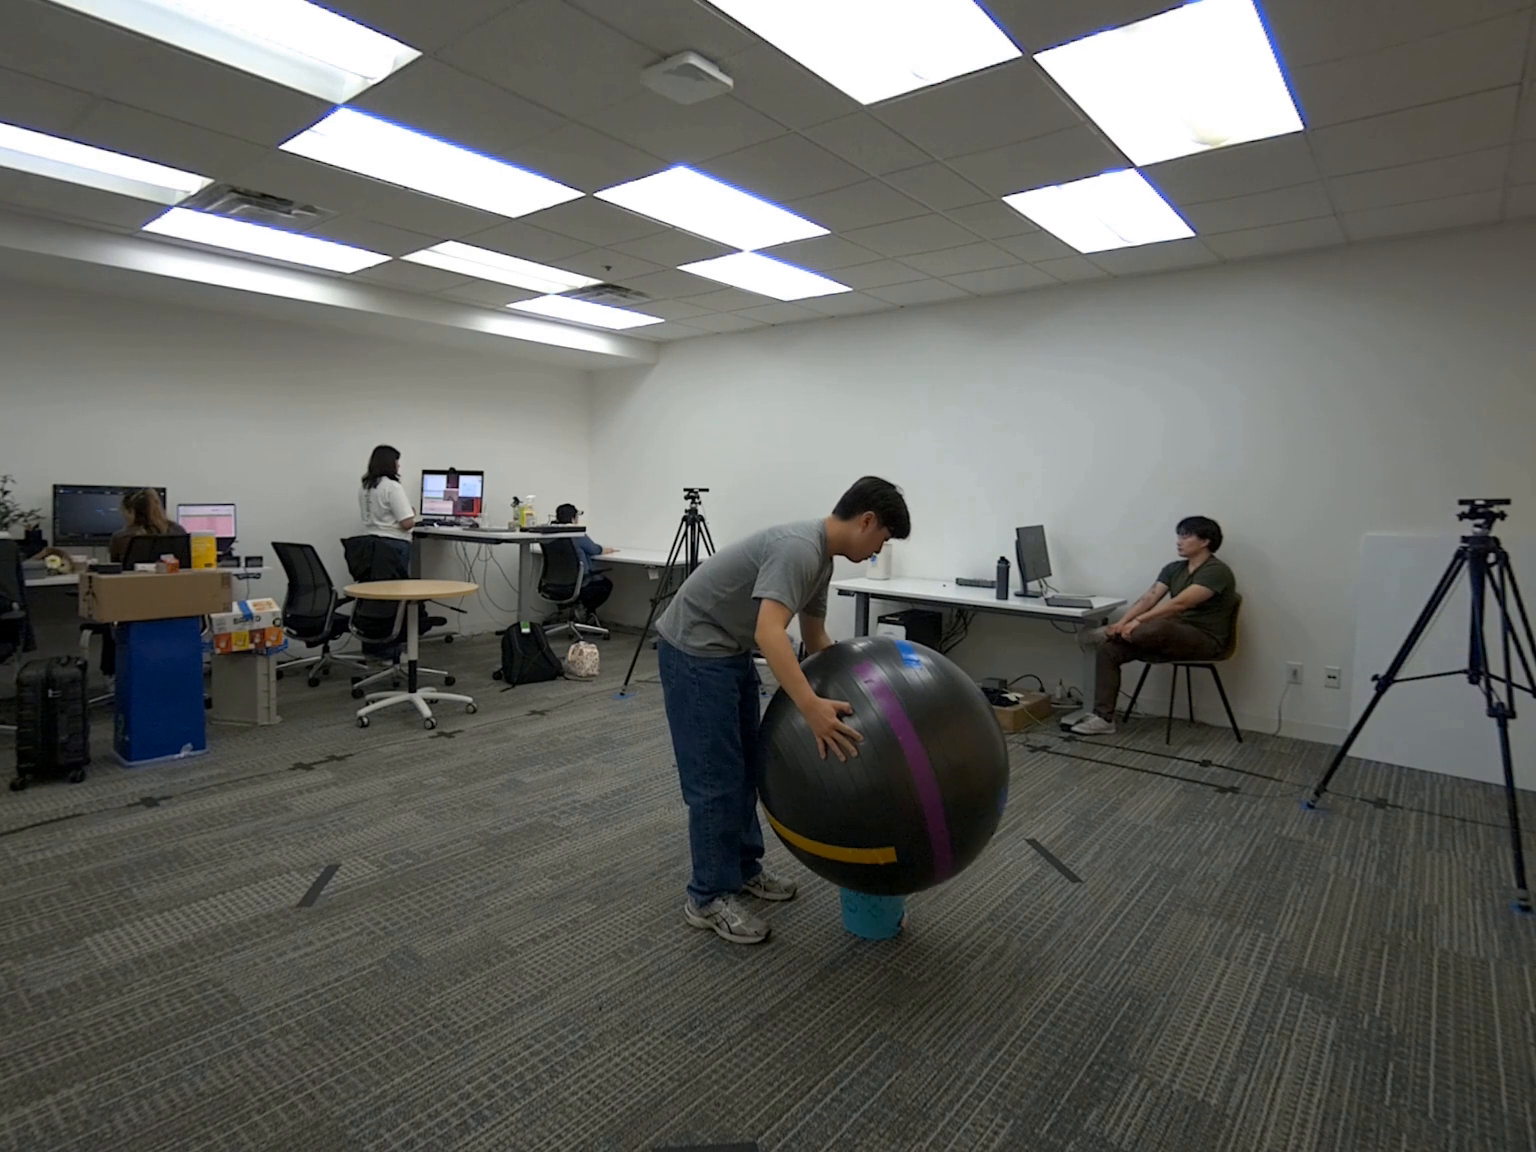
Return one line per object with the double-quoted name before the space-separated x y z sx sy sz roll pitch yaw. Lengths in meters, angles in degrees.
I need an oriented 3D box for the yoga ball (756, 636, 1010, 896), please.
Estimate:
"yoga ball" 0.329 0.565 2.599 0.757 0.756 0.761 1 4 -2
